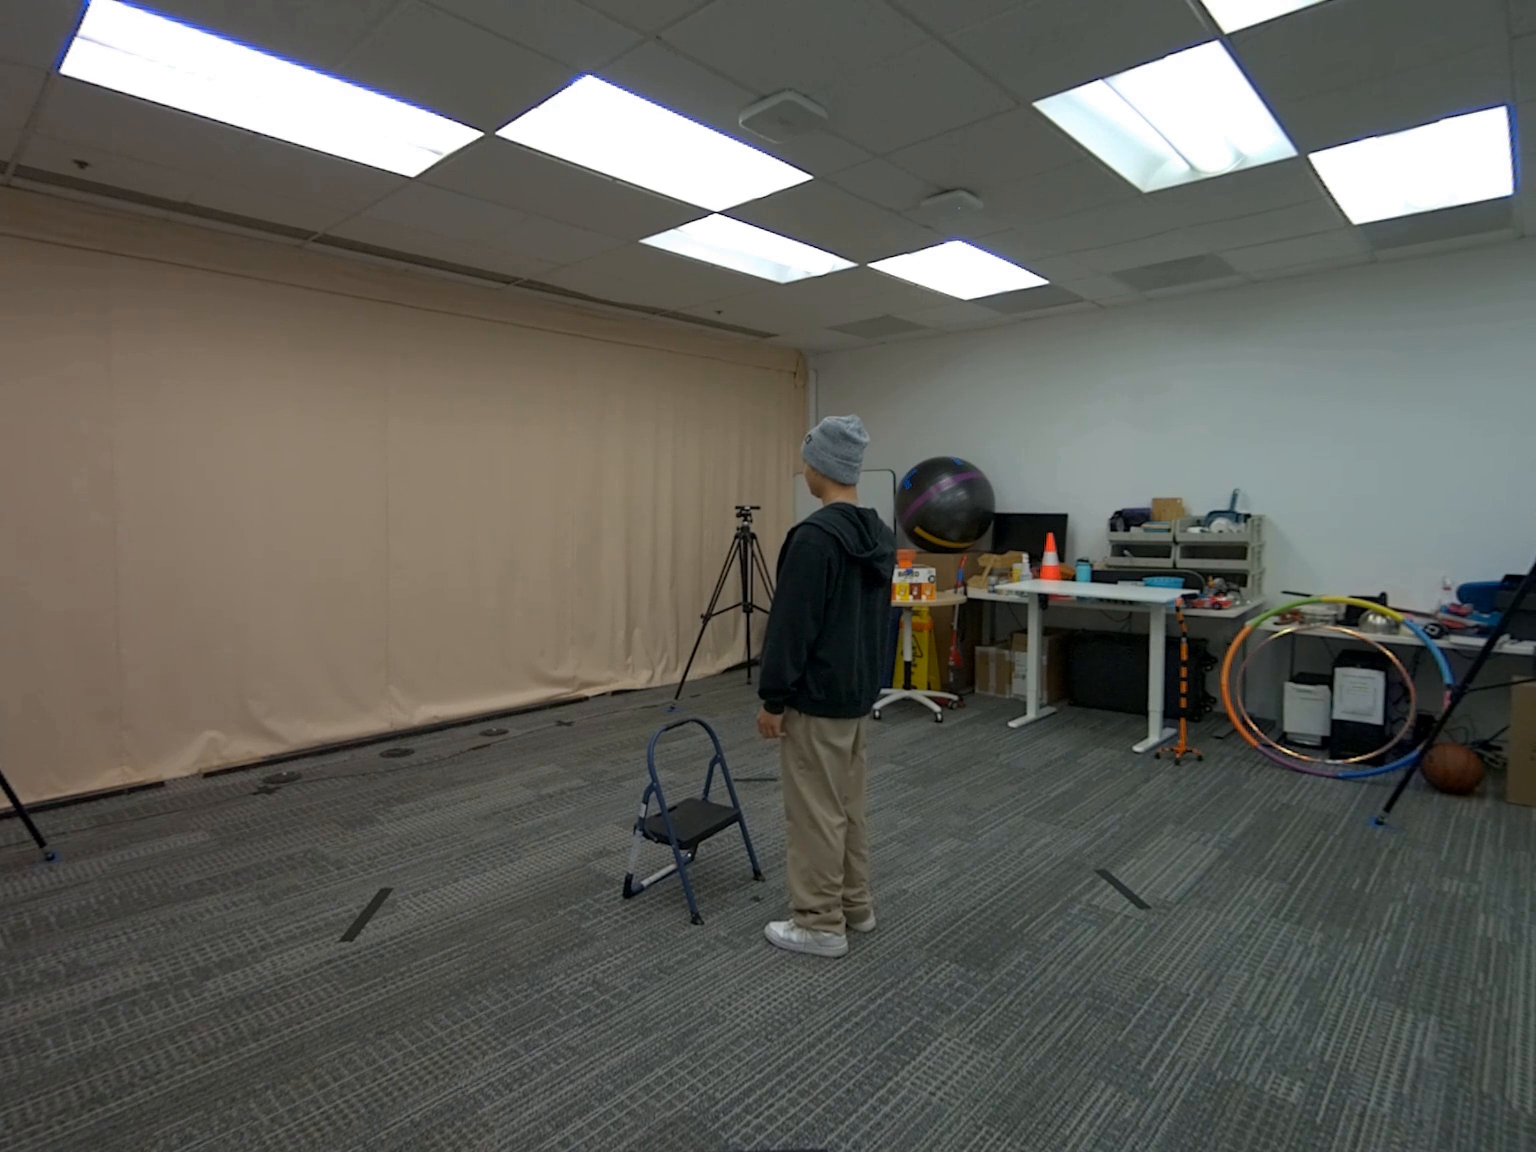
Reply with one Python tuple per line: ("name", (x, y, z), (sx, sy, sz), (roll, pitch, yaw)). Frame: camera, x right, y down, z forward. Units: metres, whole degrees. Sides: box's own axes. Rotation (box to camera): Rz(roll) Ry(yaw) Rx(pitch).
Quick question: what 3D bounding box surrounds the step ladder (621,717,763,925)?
("step ladder", (-0.267, 0.837, 3.054), (0.360, 0.605, 0.419), (2, 4, 32))
